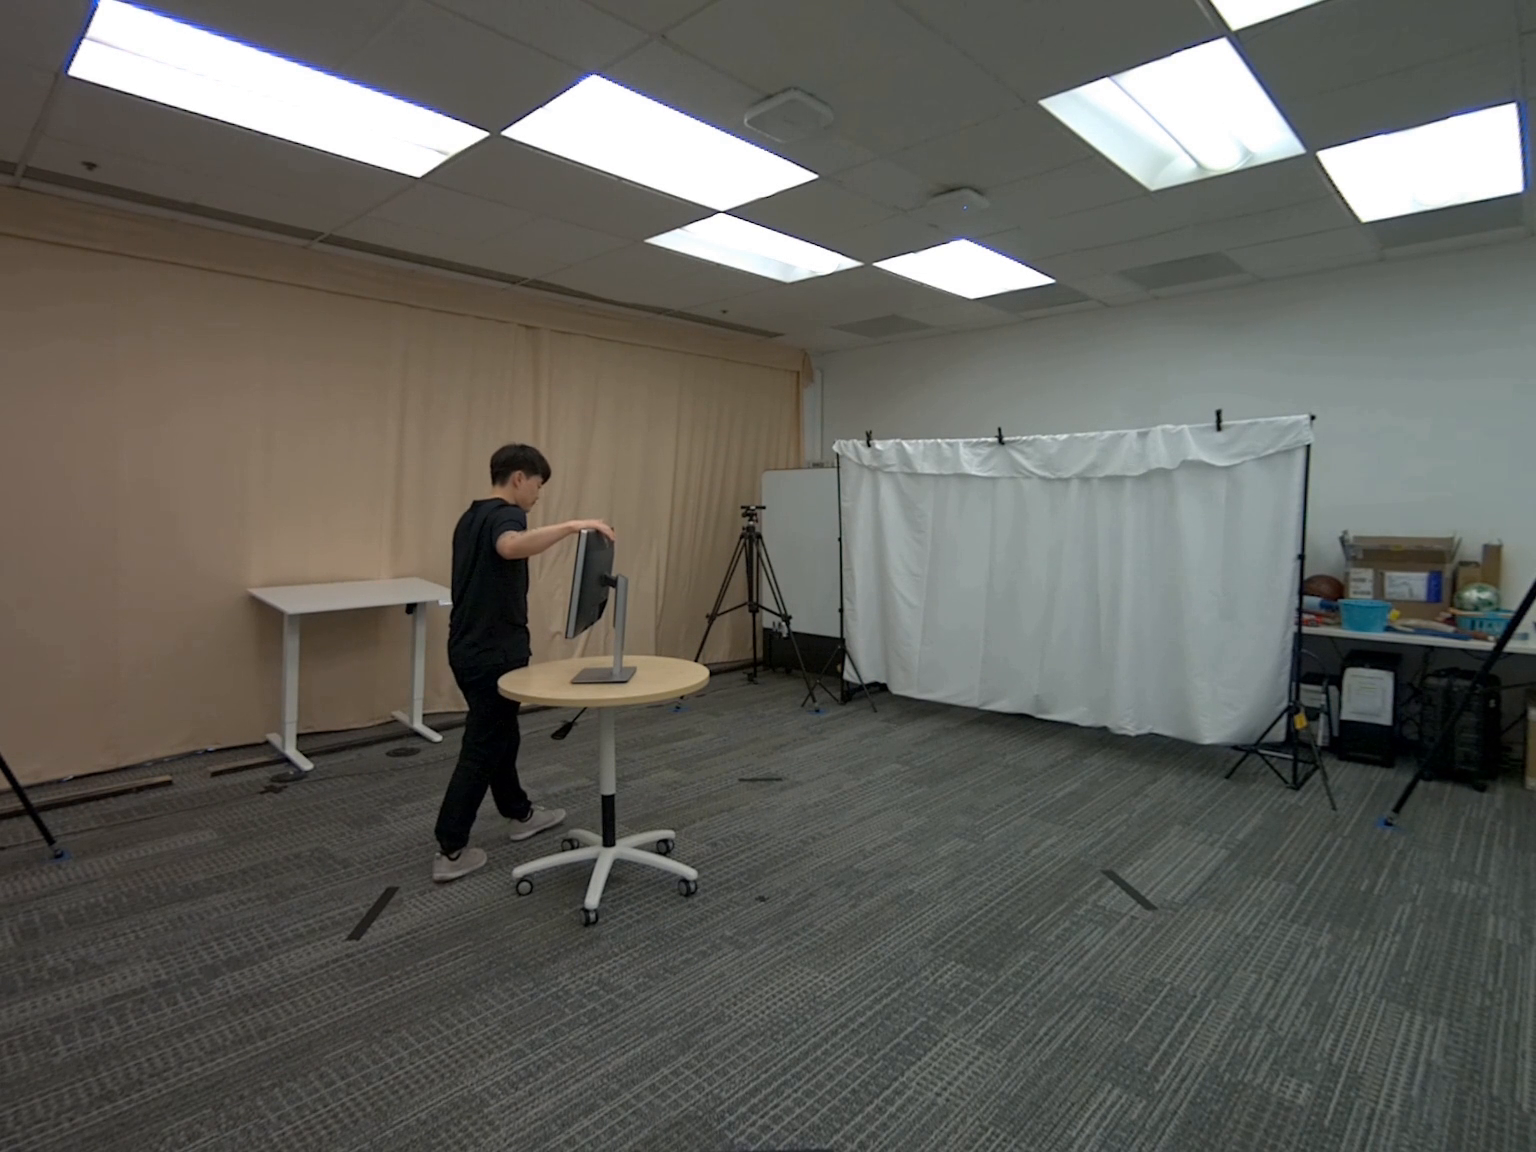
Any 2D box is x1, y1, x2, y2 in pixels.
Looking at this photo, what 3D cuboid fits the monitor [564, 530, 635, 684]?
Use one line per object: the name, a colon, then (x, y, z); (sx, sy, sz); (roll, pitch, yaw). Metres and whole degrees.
monitor: (-0.589, 0.103, 3.036); (0.187, 0.521, 0.540); (-3, 3, -2)
